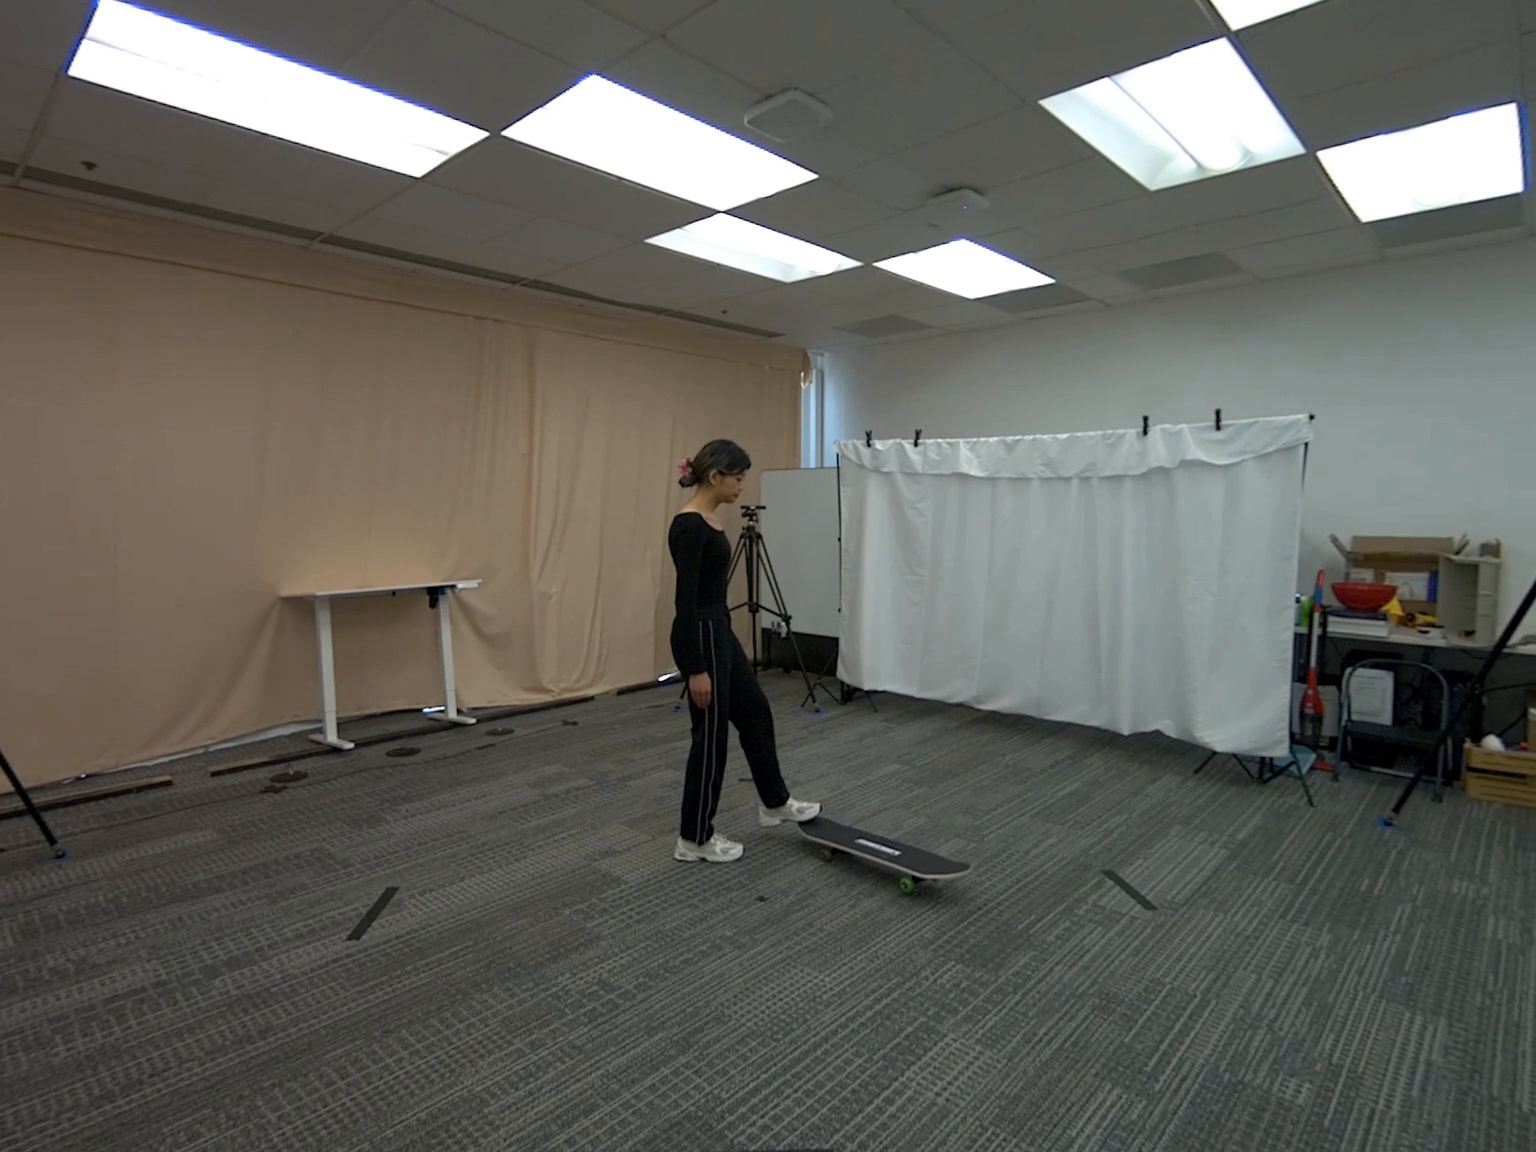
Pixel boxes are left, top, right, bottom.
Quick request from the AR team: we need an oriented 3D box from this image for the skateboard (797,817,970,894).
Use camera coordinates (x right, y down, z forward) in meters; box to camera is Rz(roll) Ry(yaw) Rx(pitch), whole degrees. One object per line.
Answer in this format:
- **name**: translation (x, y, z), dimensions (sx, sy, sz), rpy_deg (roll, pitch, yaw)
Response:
- **skateboard**: translation (0.420, 1.057, 3.194), dimensions (0.188, 0.110, 0.810), rpy_deg (-4, 3, -39)
